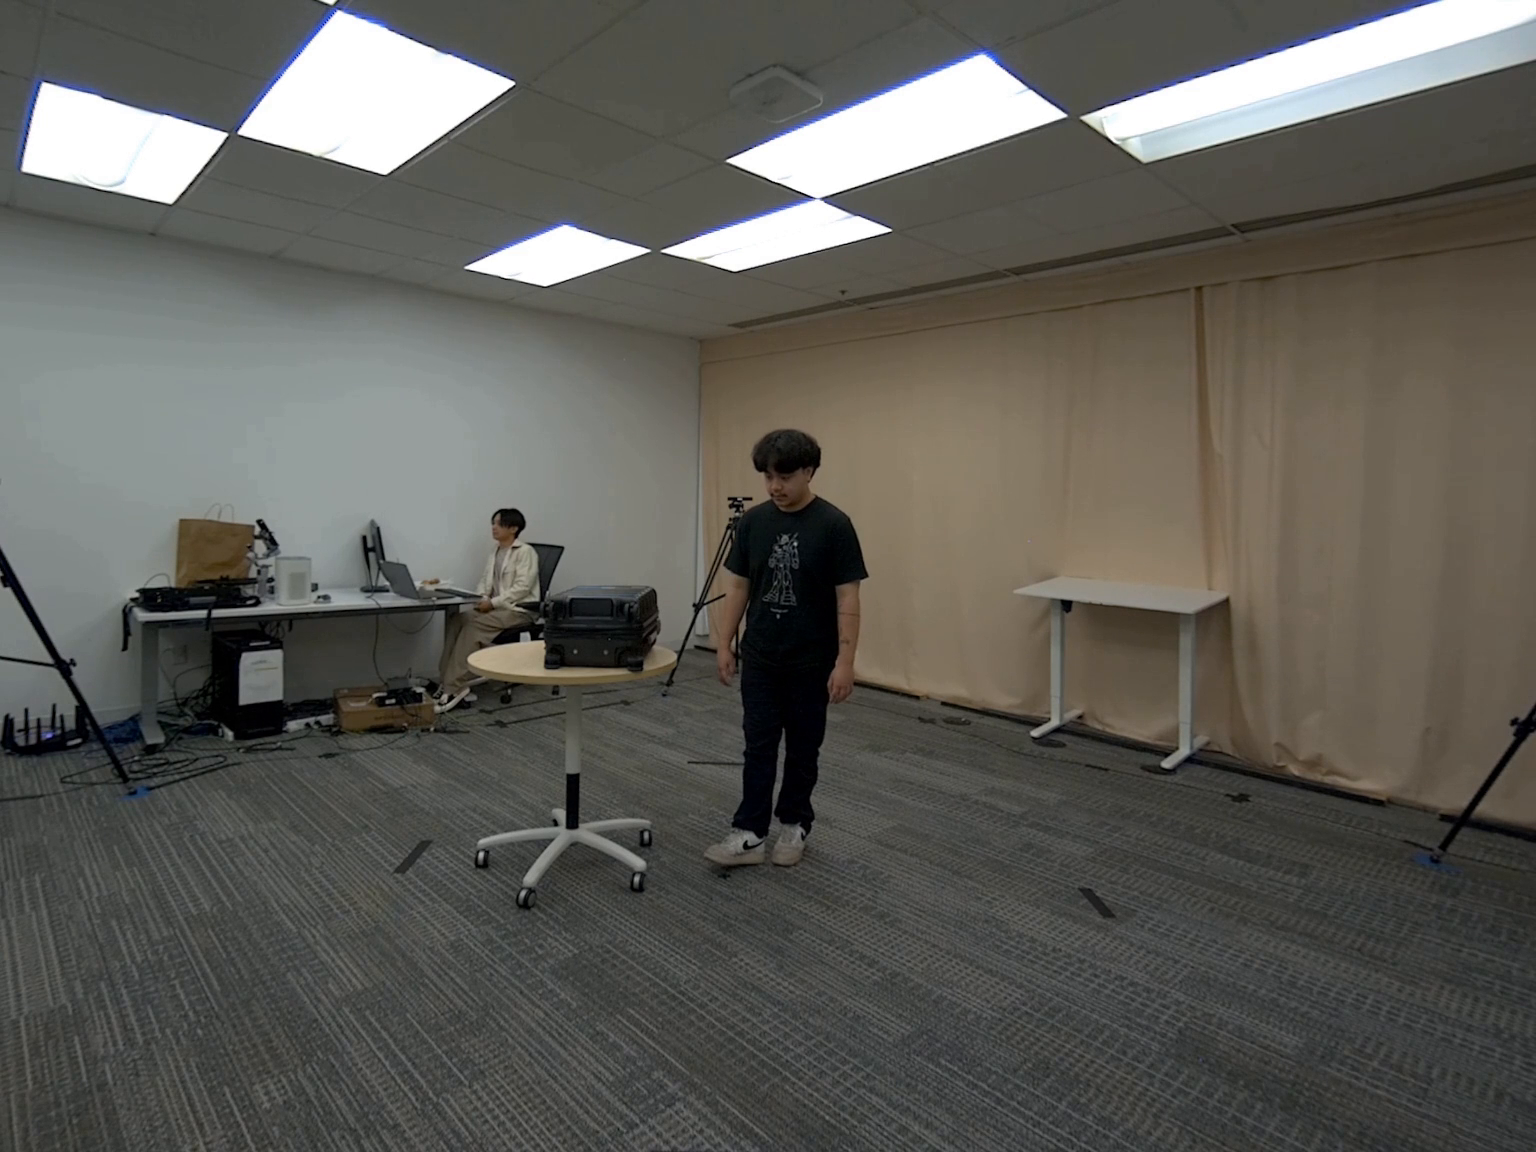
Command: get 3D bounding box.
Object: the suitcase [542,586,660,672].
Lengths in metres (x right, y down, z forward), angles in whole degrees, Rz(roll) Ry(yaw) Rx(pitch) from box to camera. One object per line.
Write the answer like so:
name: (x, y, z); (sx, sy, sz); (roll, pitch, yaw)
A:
suitcase: (-0.620, 0.180, 3.131); (0.376, 0.248, 0.549); (-1, 4, 2)
